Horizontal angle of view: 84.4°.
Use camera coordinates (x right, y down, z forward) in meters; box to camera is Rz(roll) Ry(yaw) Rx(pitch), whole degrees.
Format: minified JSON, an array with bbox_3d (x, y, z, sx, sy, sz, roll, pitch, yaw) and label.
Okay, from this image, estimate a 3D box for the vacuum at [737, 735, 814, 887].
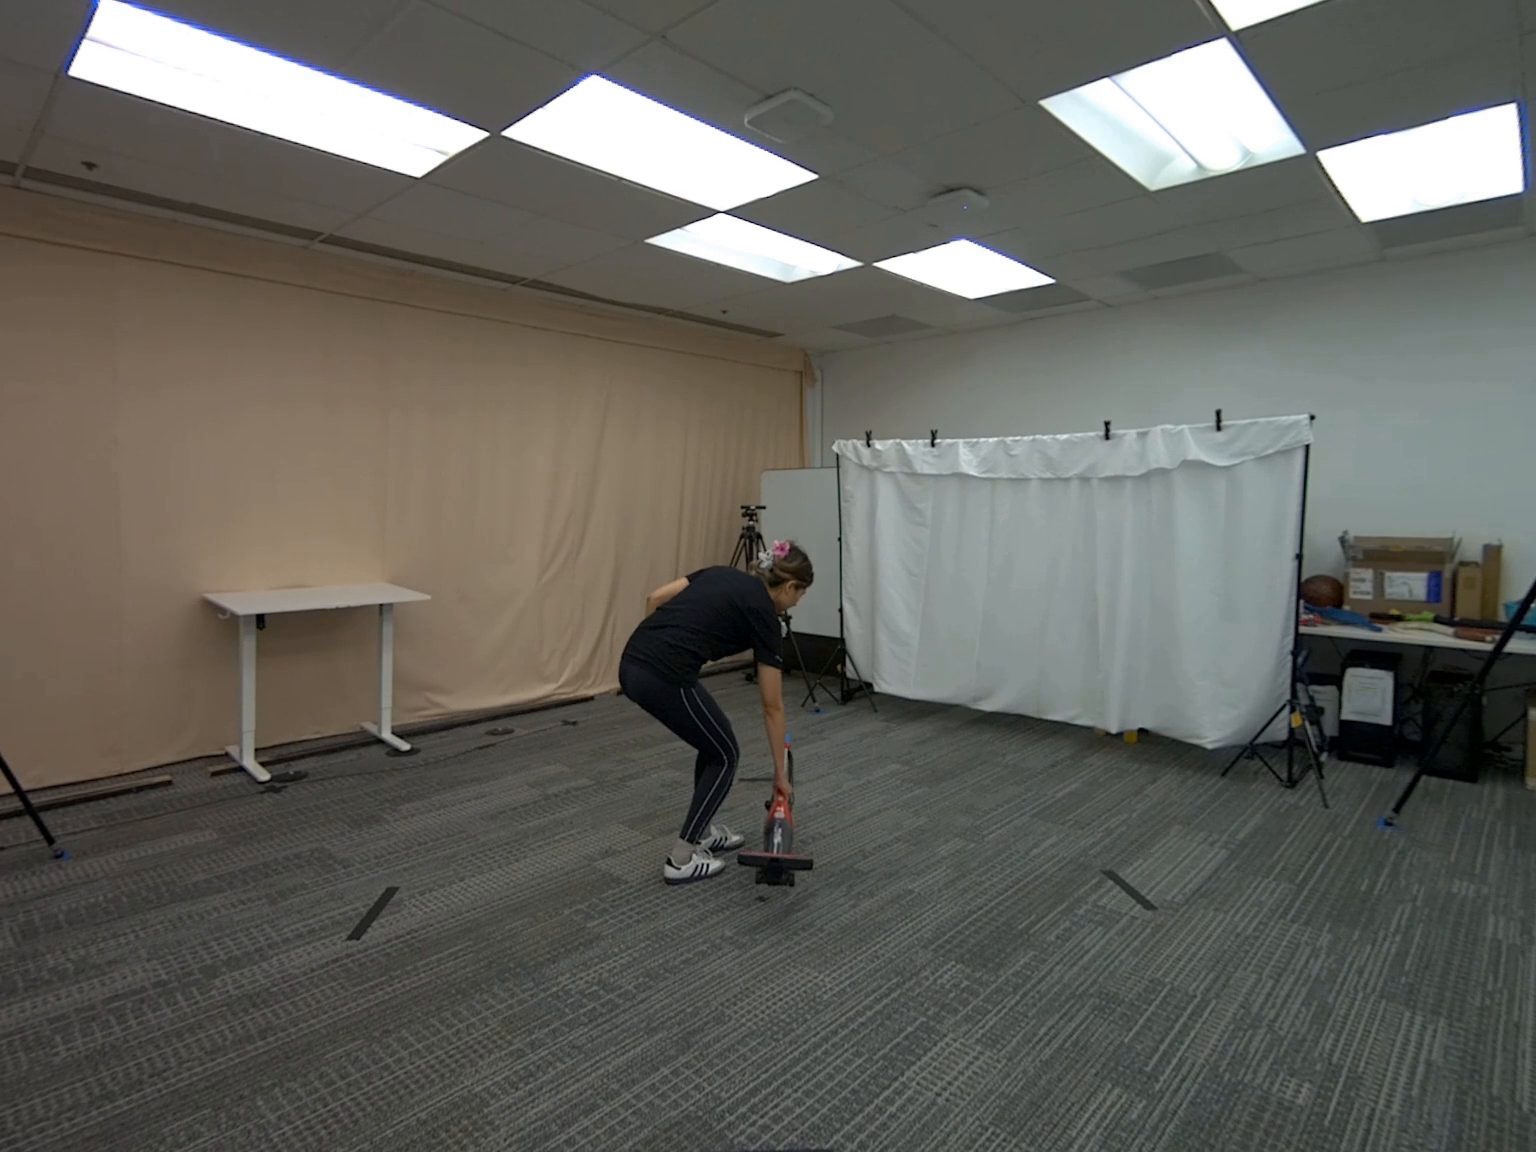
[{"bbox_3d":[0.065,0.861,3.326,0.254,0.143,1.052,2,14,3],"label":"vacuum"}]
